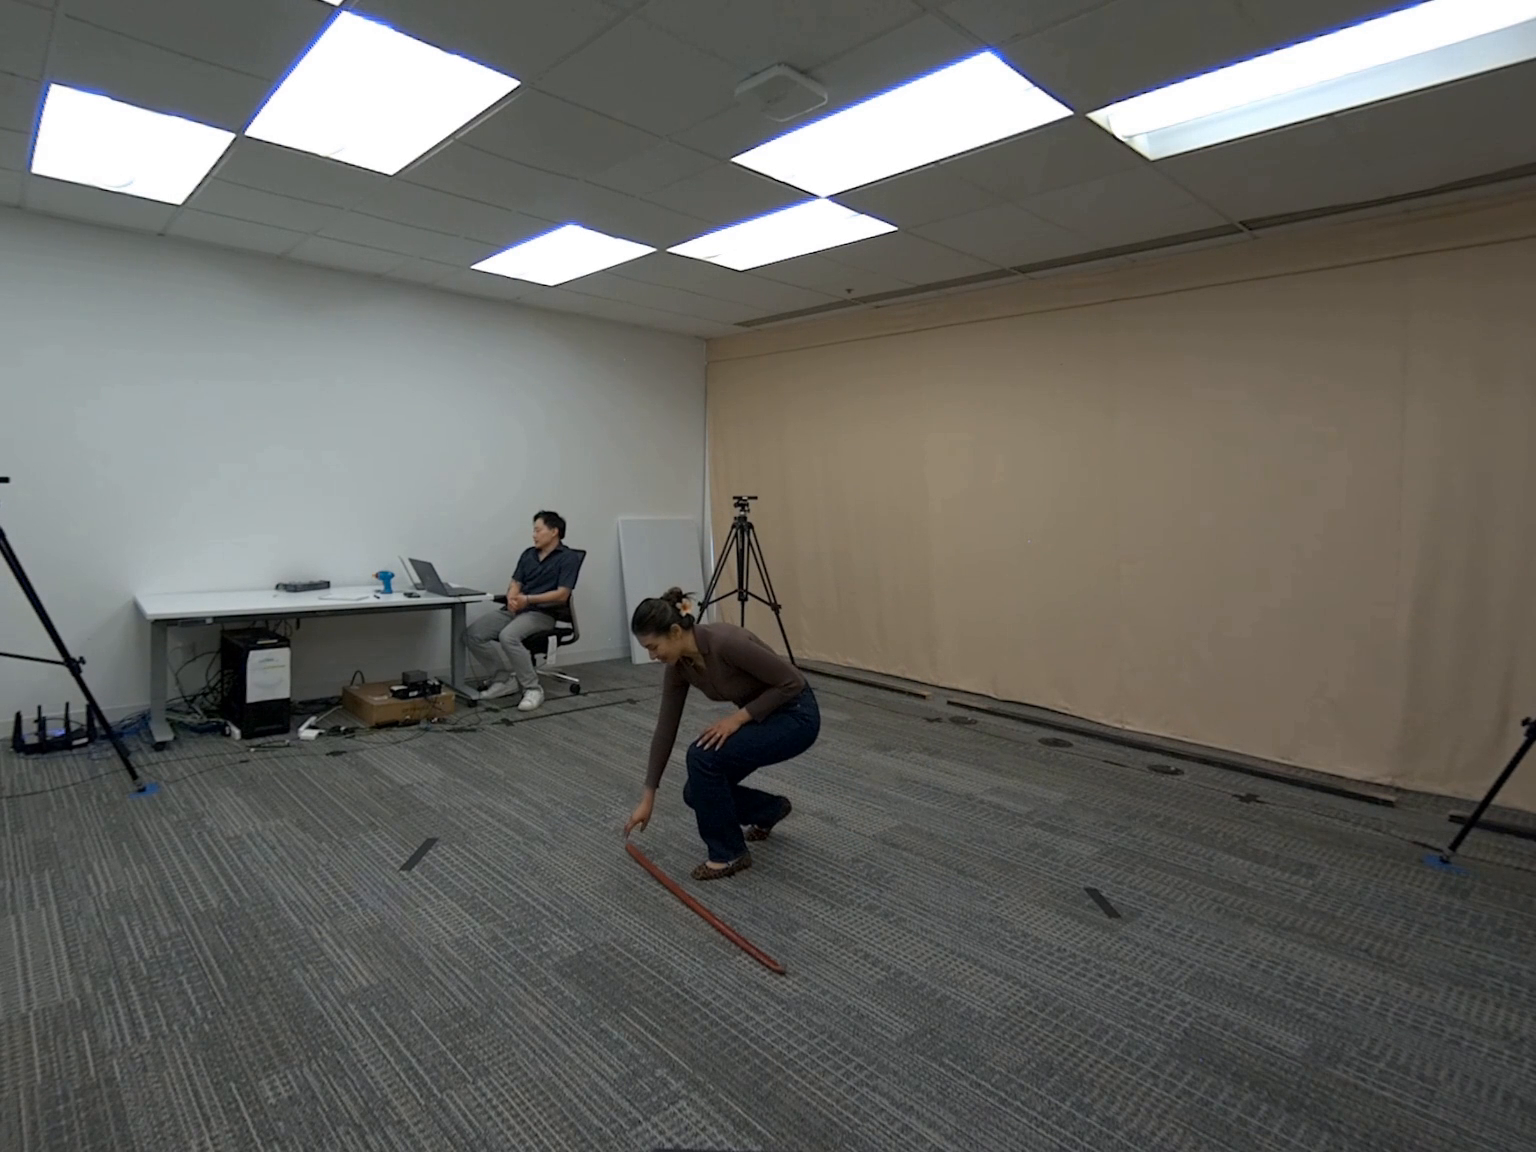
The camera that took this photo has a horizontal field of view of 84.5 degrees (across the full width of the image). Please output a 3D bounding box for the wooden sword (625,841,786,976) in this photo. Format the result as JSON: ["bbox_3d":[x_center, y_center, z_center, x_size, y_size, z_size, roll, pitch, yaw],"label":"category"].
[{"bbox_3d":[-0.255,1.097,2.871,0.023,0.051,1.050,50,-22,-28],"label":"wooden sword"}]
